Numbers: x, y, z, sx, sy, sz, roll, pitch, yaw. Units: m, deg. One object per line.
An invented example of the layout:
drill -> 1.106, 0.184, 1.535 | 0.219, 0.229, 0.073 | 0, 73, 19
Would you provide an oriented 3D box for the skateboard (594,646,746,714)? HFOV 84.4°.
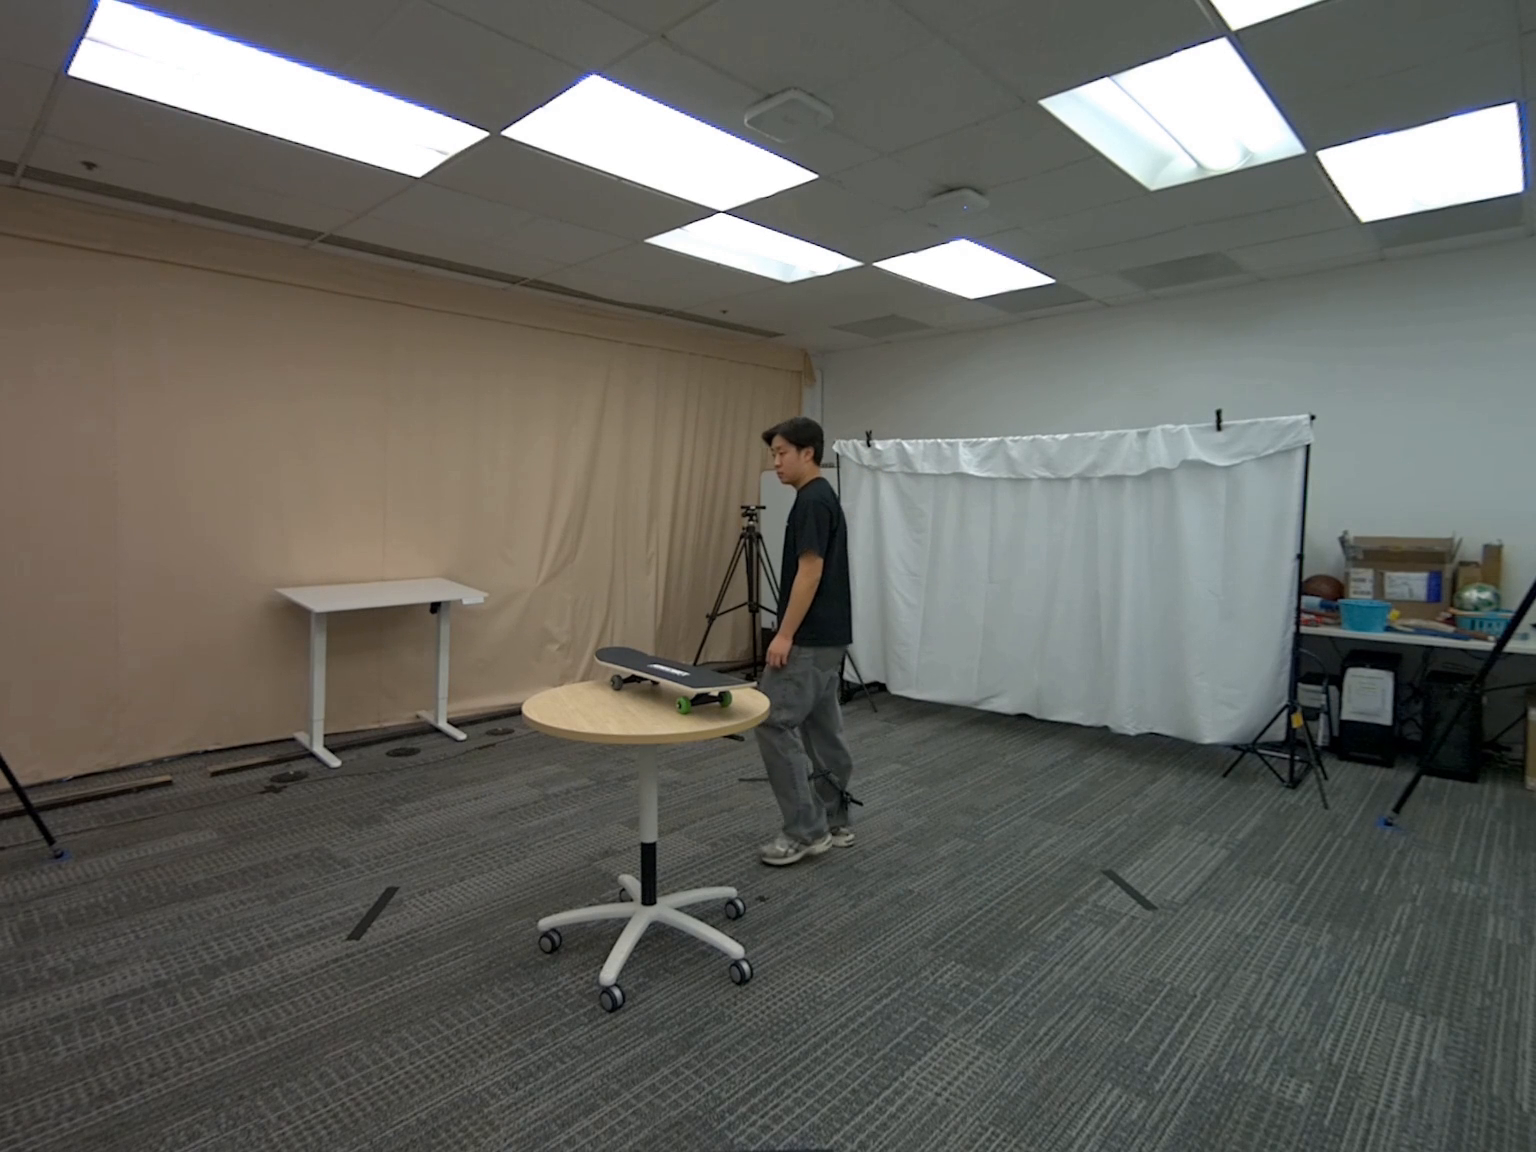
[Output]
skateboard -> -0.311, 0.339, 2.691 | 0.188, 0.110, 0.811 | -3, 6, -38
